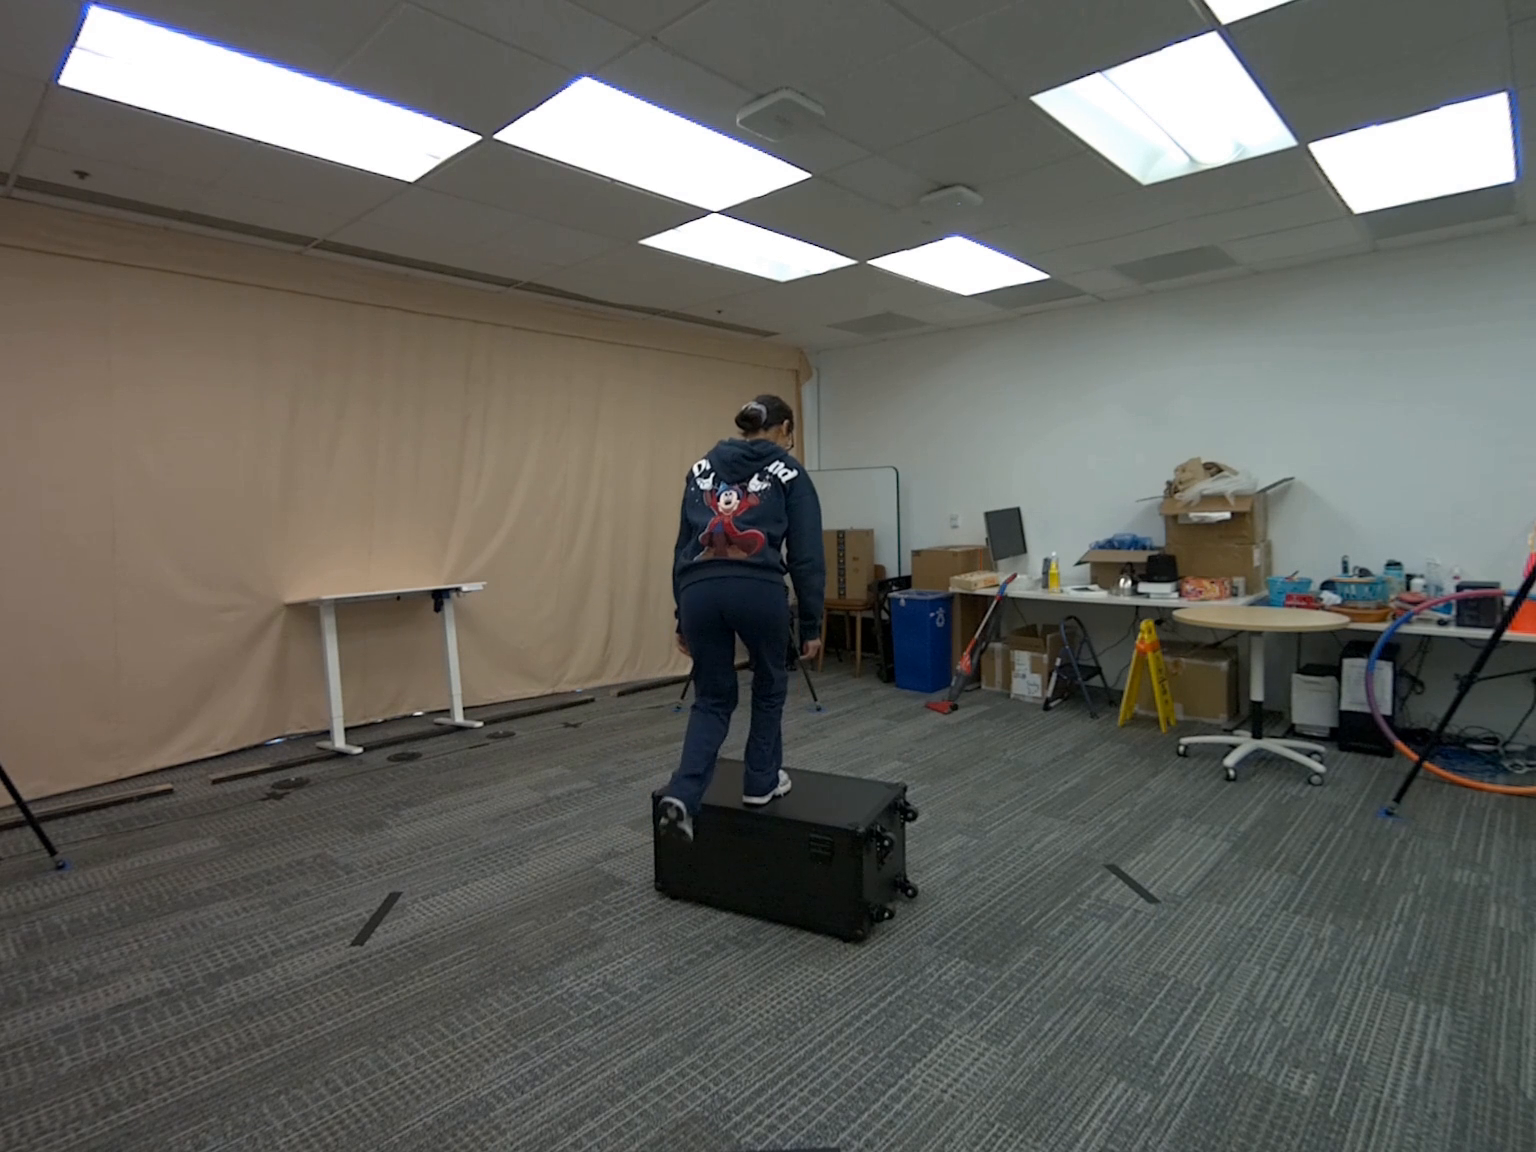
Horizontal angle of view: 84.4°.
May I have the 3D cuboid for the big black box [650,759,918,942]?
[{"bbox_3d":[0.080,0.950,3.002,0.885,0.395,0.508,1,4,27],"label":"big black box"}]
